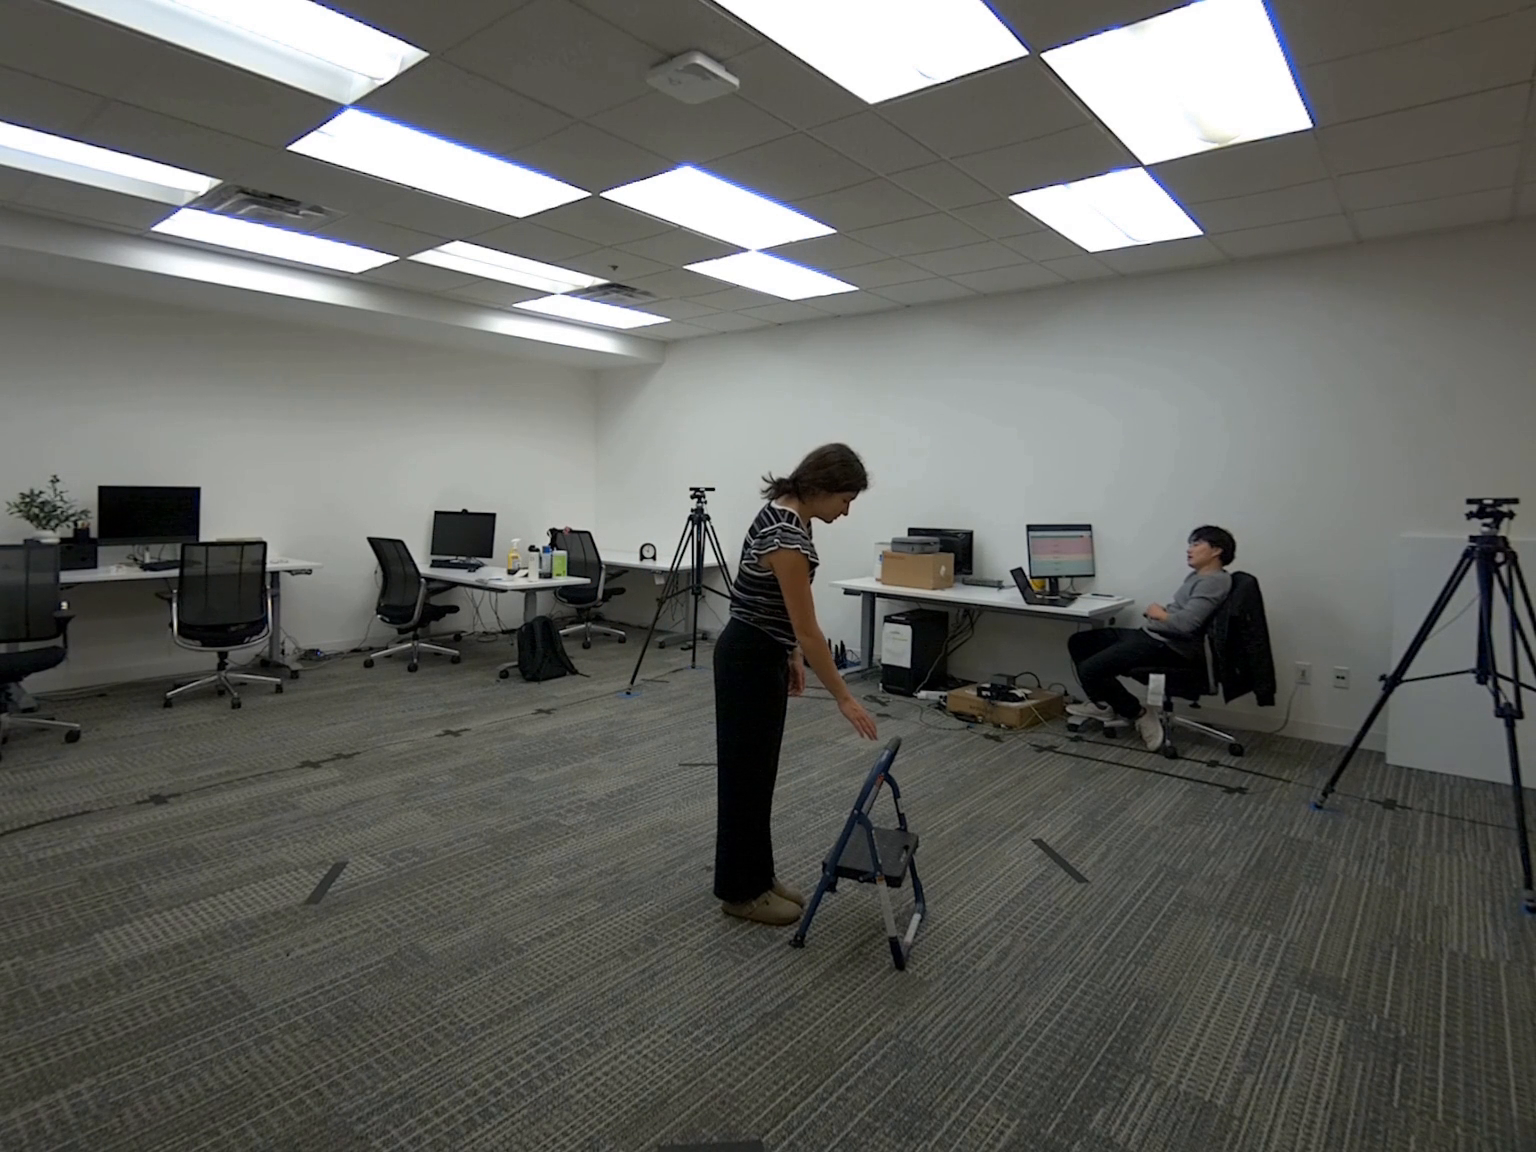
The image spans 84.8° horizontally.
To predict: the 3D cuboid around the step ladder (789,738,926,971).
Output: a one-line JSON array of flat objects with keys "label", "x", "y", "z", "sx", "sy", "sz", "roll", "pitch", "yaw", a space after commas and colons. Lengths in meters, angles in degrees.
[{"label": "step ladder", "x": 0.303, "y": 0.819, "z": 2.702, "sx": 0.357, "sy": 0.604, "sz": 0.422, "roll": 3, "pitch": 4, "yaw": 20}]
